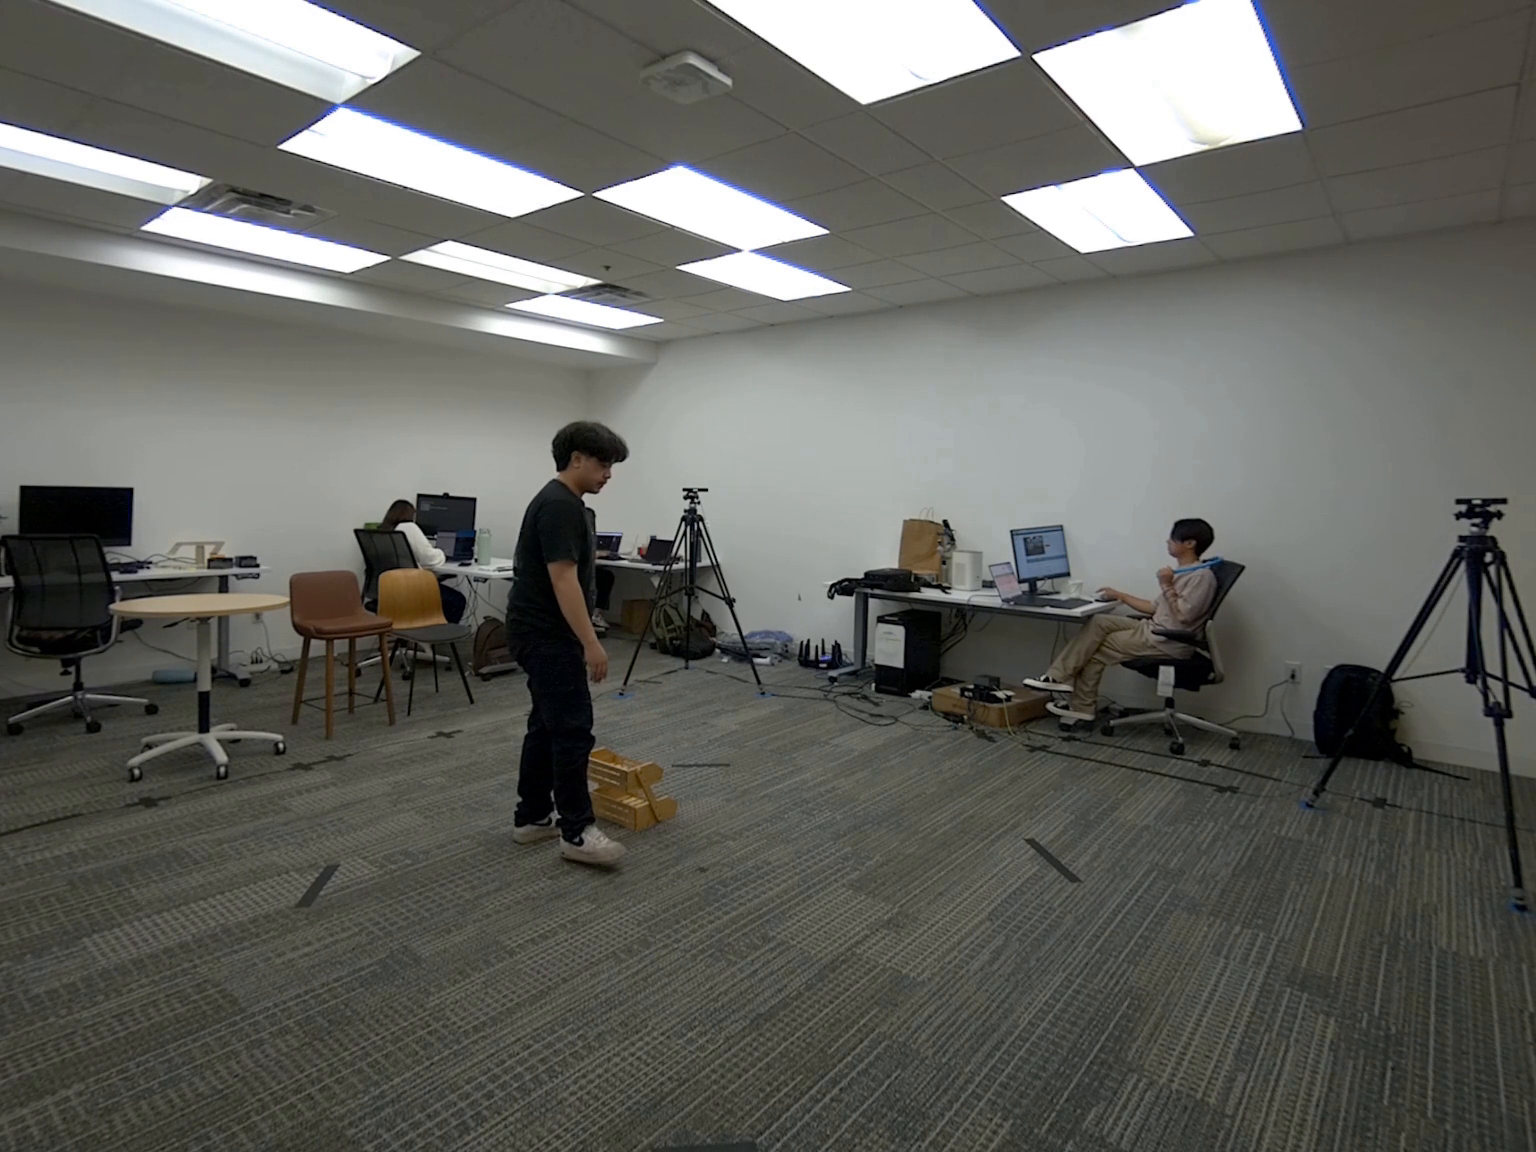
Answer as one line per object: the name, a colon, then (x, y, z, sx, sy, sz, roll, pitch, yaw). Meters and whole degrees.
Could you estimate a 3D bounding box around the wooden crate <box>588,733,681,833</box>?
wooden crate: (-0.601, 0.874, 3.611, 0.335, 0.272, 0.293, 4, 6, 38)
